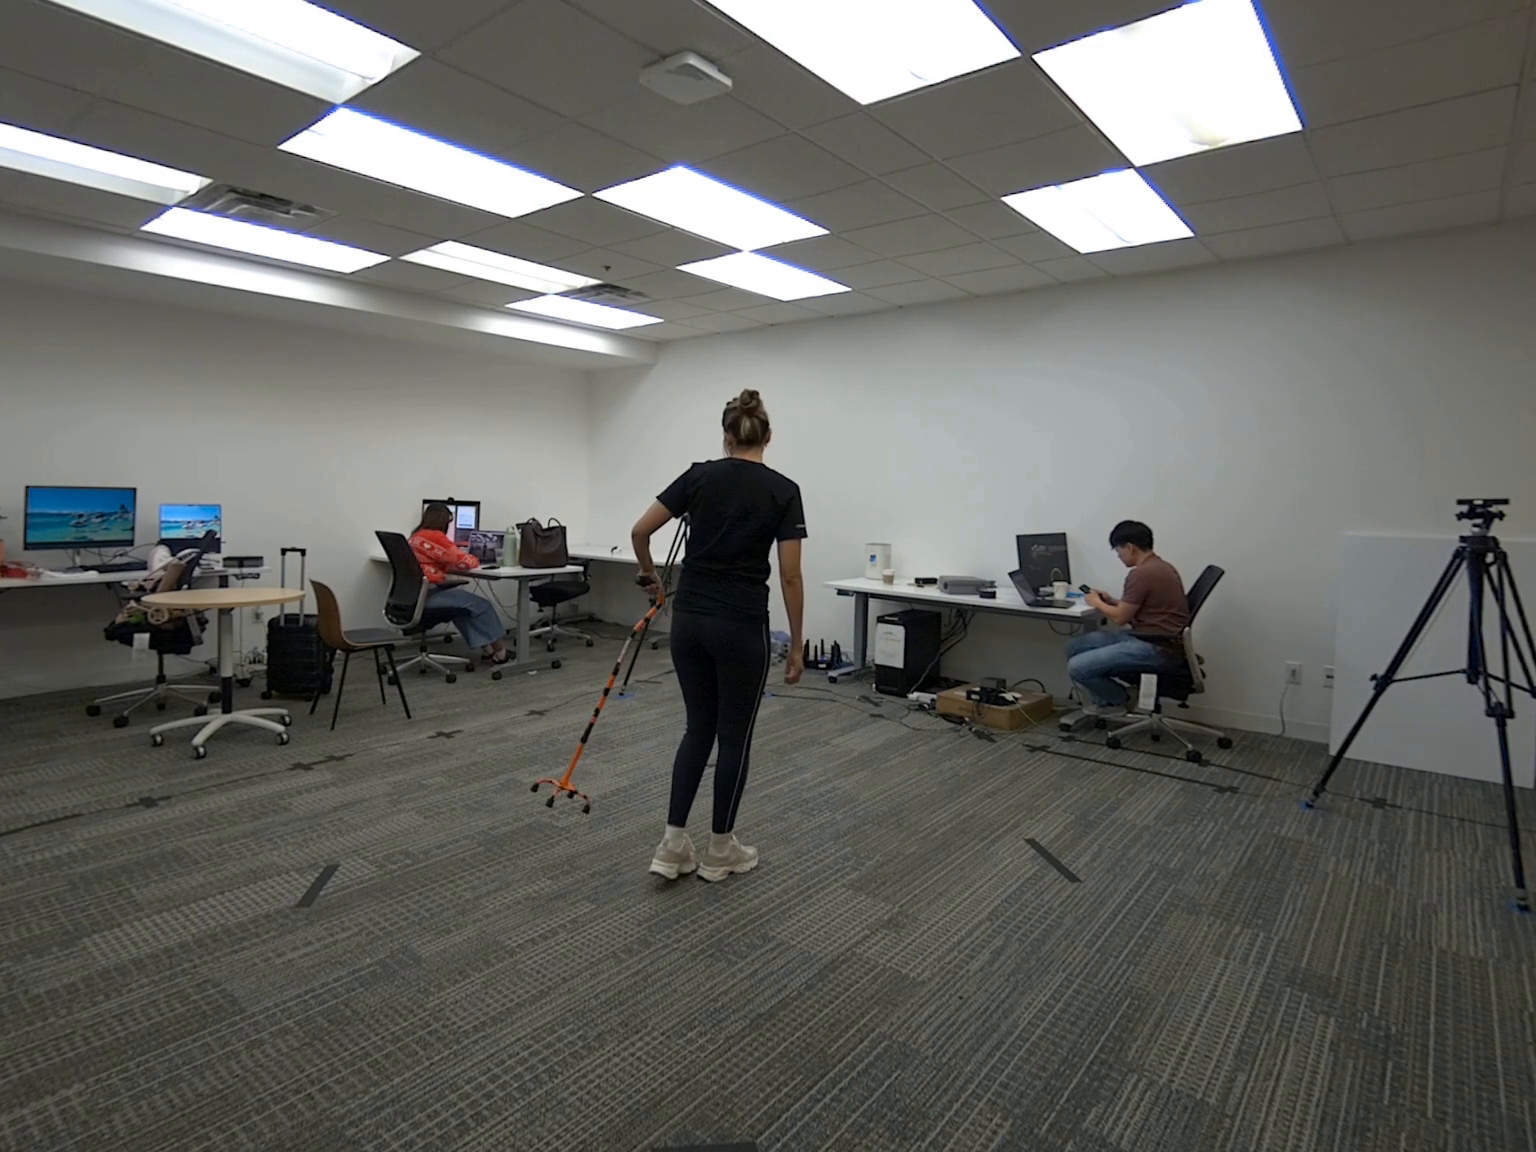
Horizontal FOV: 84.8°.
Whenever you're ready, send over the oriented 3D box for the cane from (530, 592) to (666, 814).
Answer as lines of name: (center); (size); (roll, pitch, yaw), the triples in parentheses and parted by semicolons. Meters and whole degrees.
cane: (-0.628, 0.452, 3.268); (0.198, 0.908, 0.158); (23, -2, -42)
